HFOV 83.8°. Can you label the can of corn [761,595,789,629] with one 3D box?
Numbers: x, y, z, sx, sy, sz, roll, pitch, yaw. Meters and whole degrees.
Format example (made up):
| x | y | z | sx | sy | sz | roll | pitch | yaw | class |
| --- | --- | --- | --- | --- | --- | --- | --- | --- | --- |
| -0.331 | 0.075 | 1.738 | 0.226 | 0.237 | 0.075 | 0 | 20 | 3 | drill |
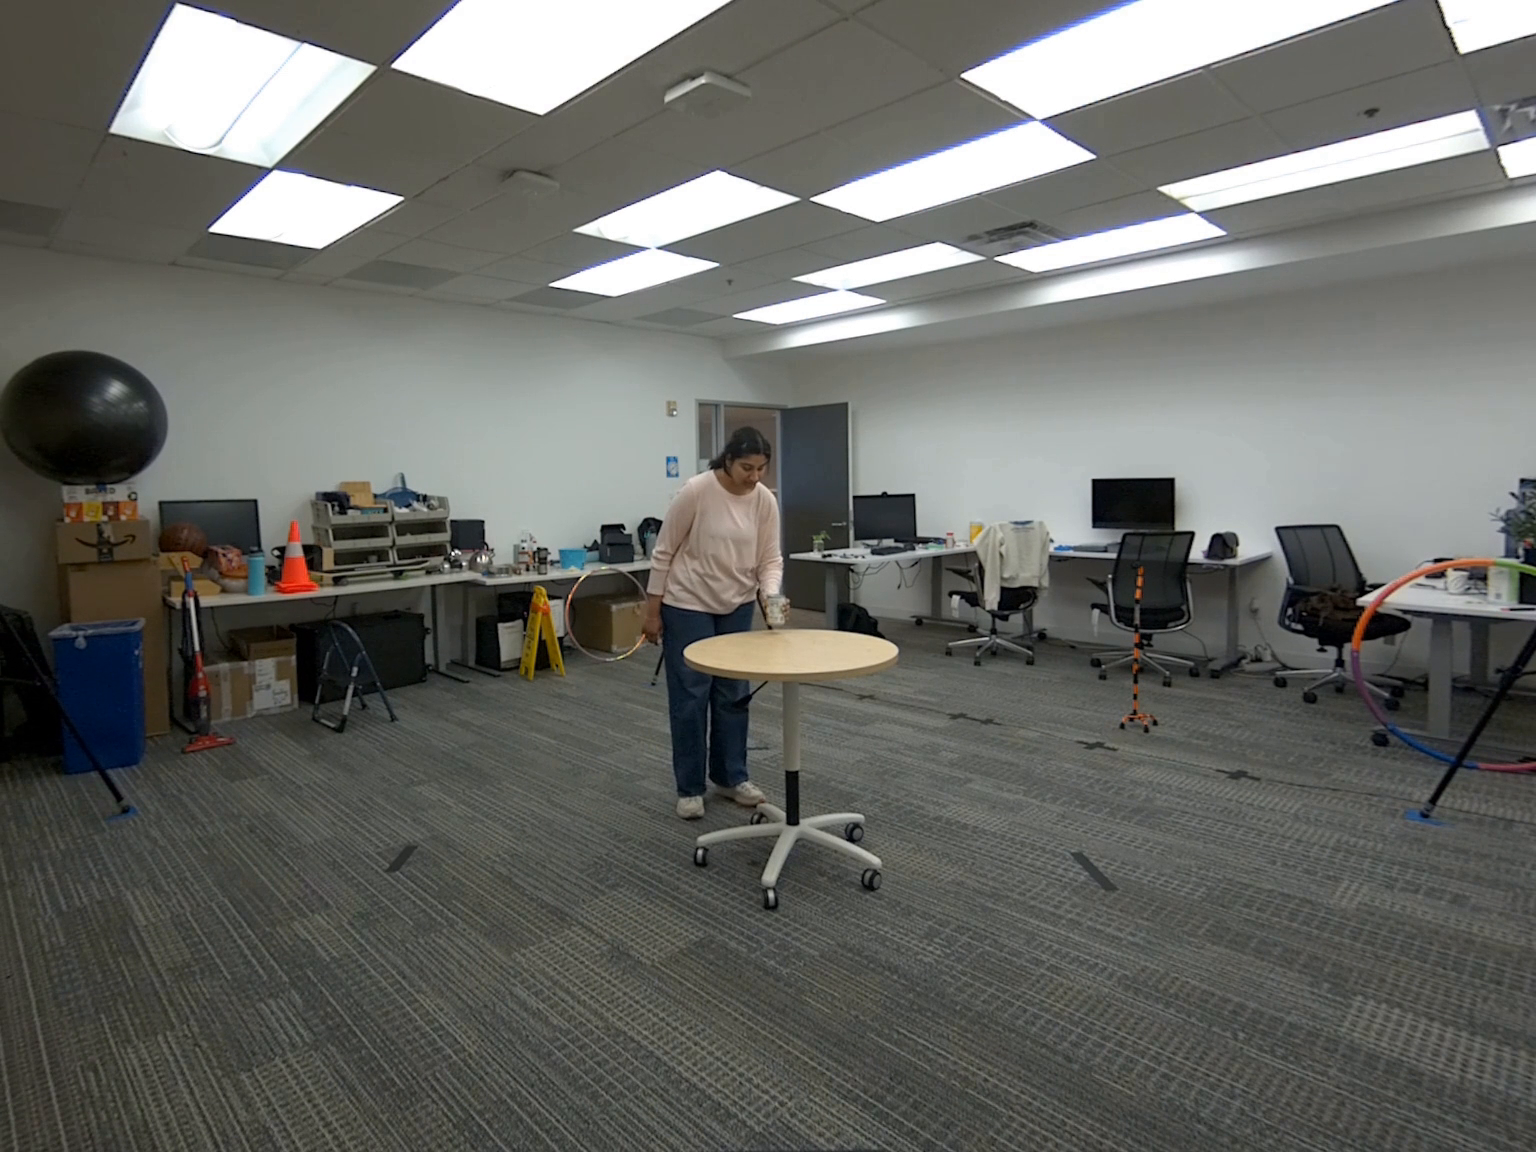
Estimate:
| x | y | z | sx | sy | sz | roll | pitch | yaw | class |
| --- | --- | --- | --- | --- | --- | --- | --- | --- | --- |
| 0.033 | 0.134 | 3.369 | 0.074 | 0.111 | 0.074 | 1 | 1 | -2 | can of corn |
